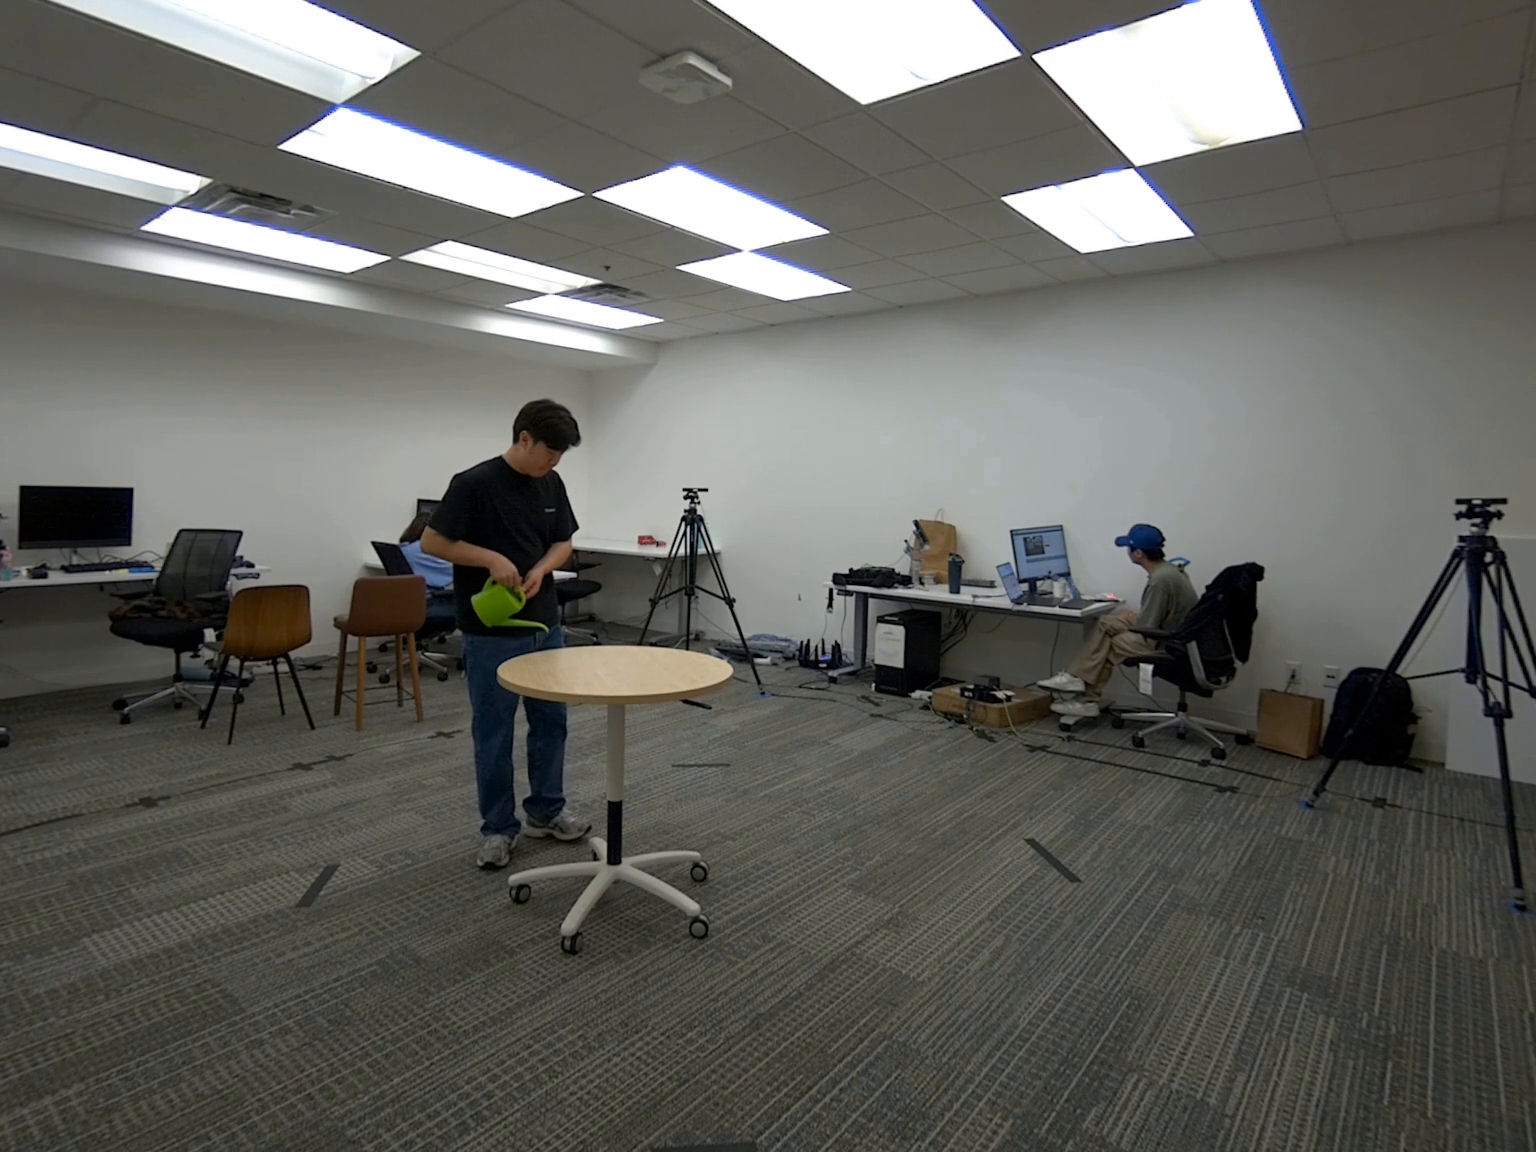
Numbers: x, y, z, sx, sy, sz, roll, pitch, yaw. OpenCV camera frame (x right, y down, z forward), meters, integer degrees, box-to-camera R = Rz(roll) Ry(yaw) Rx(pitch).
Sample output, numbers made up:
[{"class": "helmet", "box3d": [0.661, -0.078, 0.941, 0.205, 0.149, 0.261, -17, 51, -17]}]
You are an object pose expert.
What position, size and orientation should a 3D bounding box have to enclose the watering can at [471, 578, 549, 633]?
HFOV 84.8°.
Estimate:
[{"class": "watering can", "box3d": [-0.964, 0.125, 3.058, 0.177, 0.278, 0.098, -30, 1, 2]}]
